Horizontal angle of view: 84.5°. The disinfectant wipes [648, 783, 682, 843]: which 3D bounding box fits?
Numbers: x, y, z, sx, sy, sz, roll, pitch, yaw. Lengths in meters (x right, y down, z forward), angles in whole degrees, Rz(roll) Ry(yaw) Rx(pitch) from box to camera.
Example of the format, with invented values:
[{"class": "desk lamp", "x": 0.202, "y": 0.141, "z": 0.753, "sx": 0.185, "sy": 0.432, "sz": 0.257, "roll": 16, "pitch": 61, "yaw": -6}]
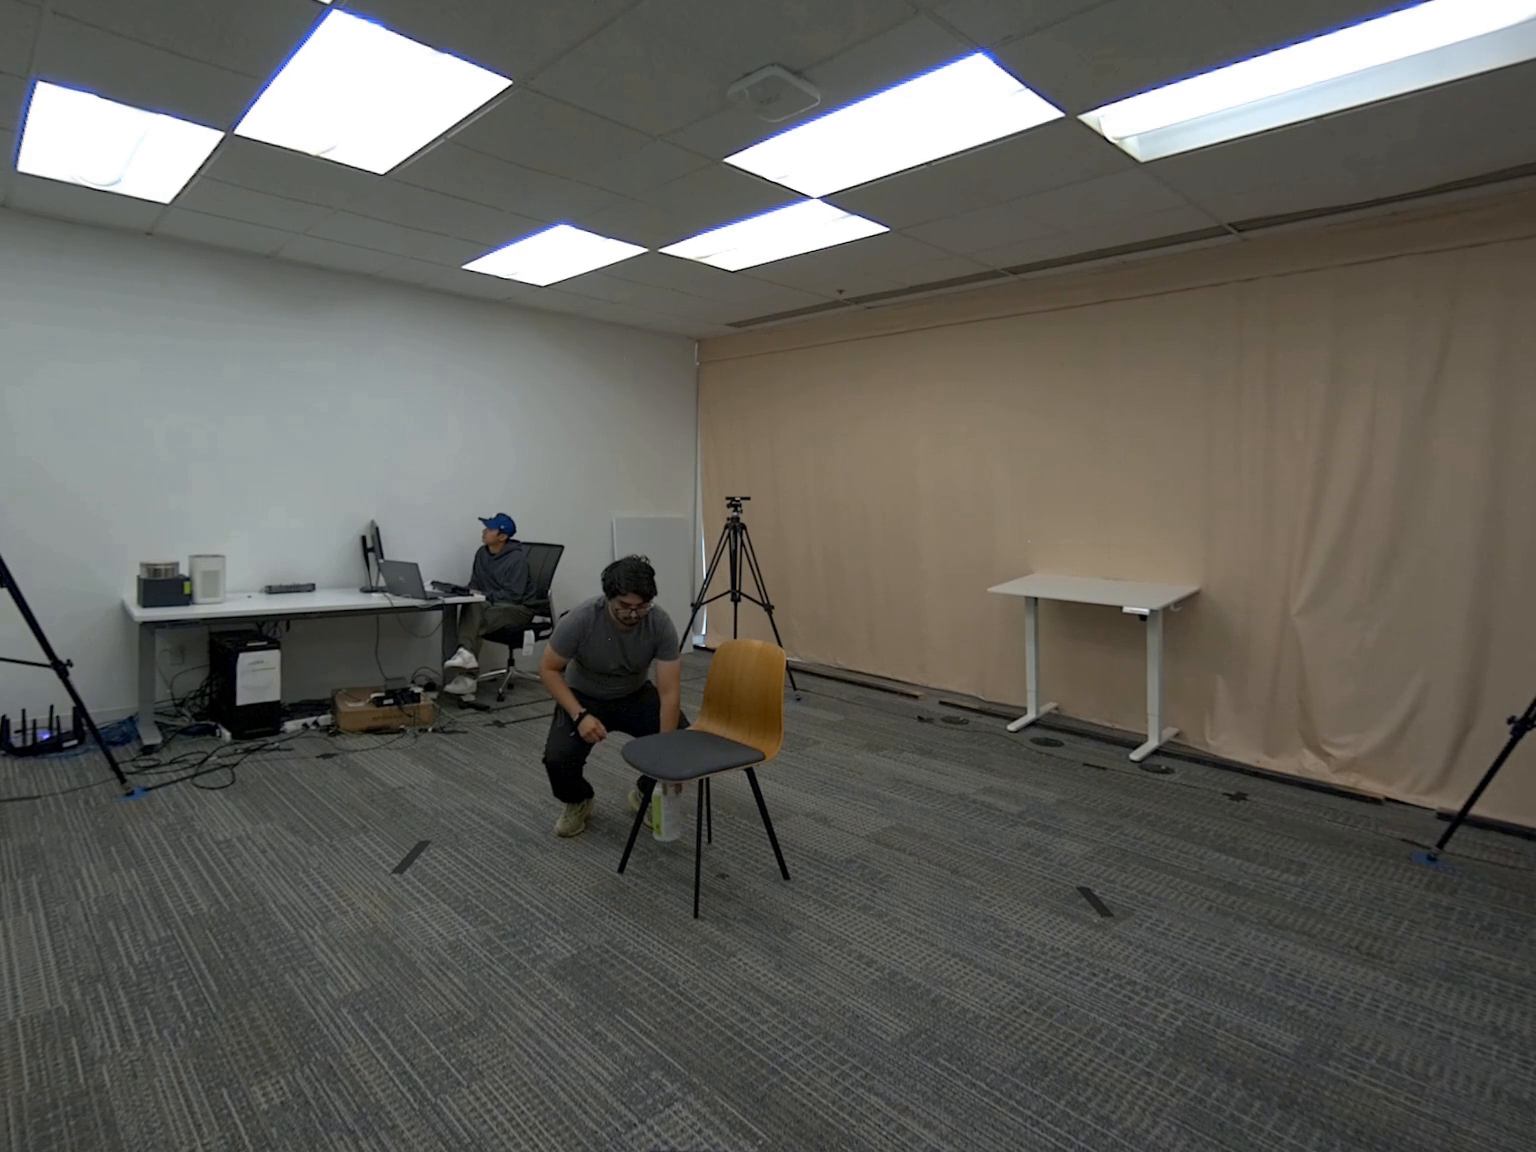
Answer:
[{"class": "disinfectant wipes", "x": -0.412, "y": 0.913, "z": 3.272, "sx": 0.118, "sy": 0.216, "sz": 0.118, "roll": 1, "pitch": 7, "yaw": -2}]
